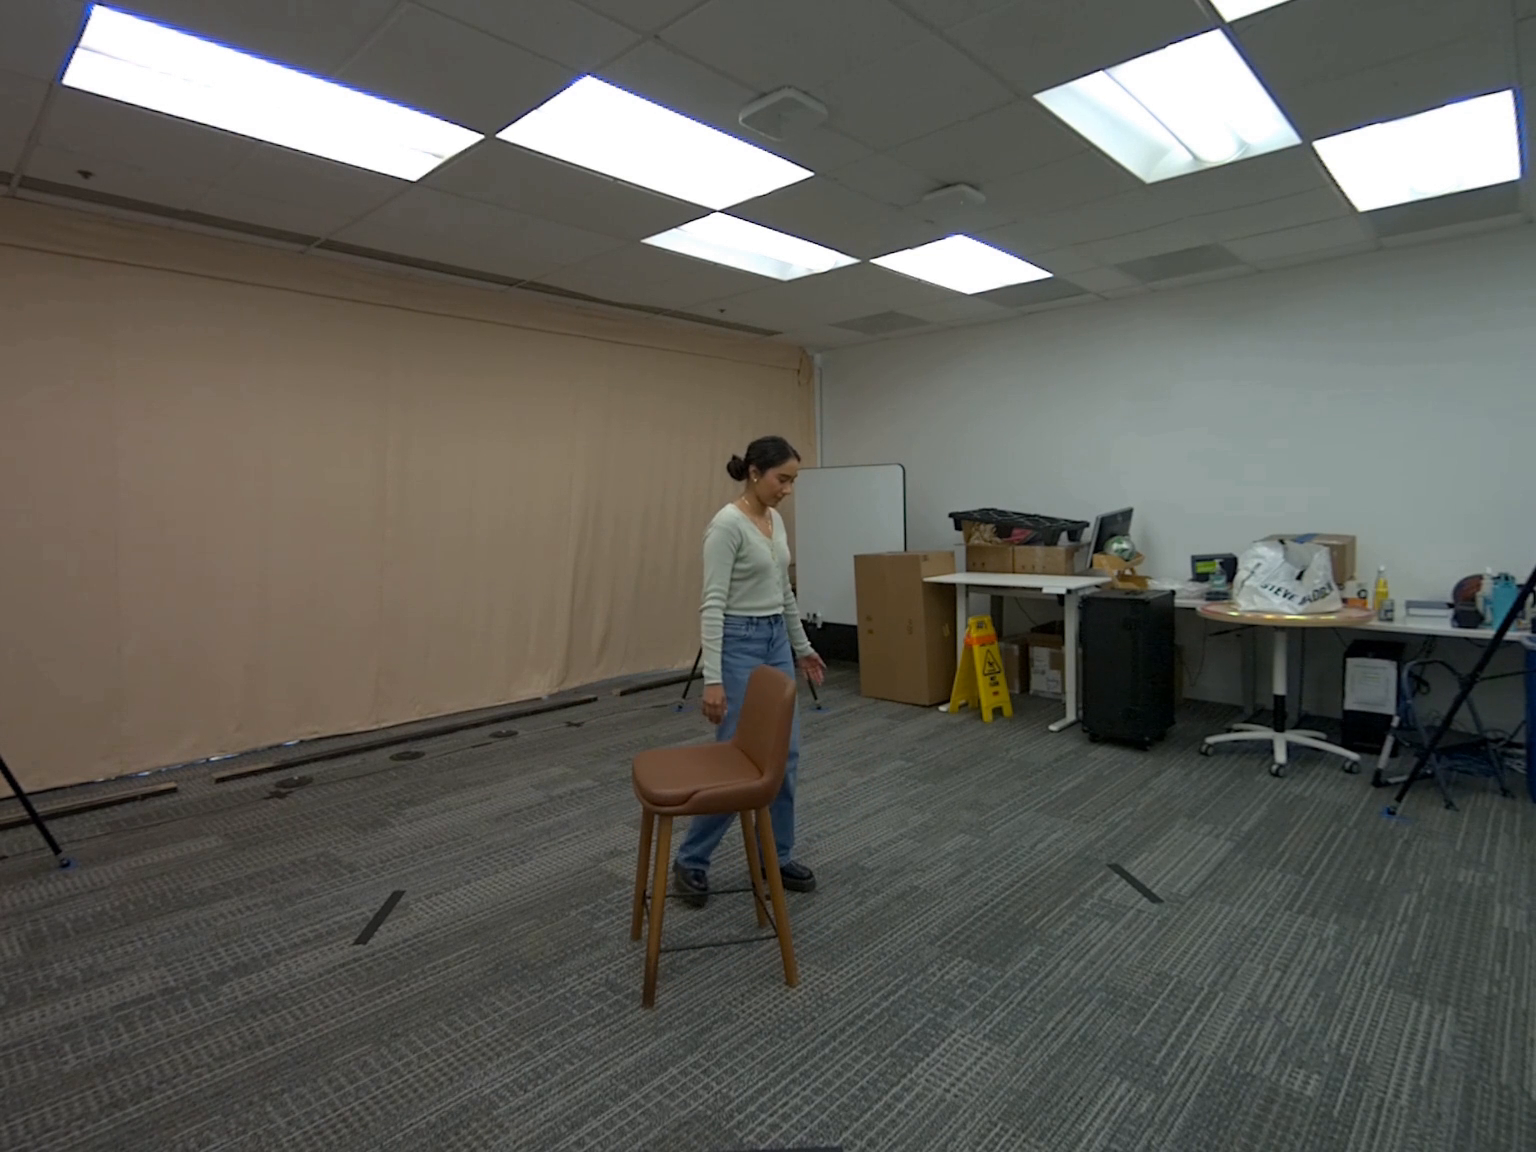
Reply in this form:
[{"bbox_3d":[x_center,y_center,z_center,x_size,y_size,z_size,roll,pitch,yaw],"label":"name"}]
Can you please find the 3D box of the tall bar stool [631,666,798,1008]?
[{"bbox_3d":[-0.180,0.744,2.551,0.461,0.888,0.464,0,3,-13],"label":"tall bar stool"}]
